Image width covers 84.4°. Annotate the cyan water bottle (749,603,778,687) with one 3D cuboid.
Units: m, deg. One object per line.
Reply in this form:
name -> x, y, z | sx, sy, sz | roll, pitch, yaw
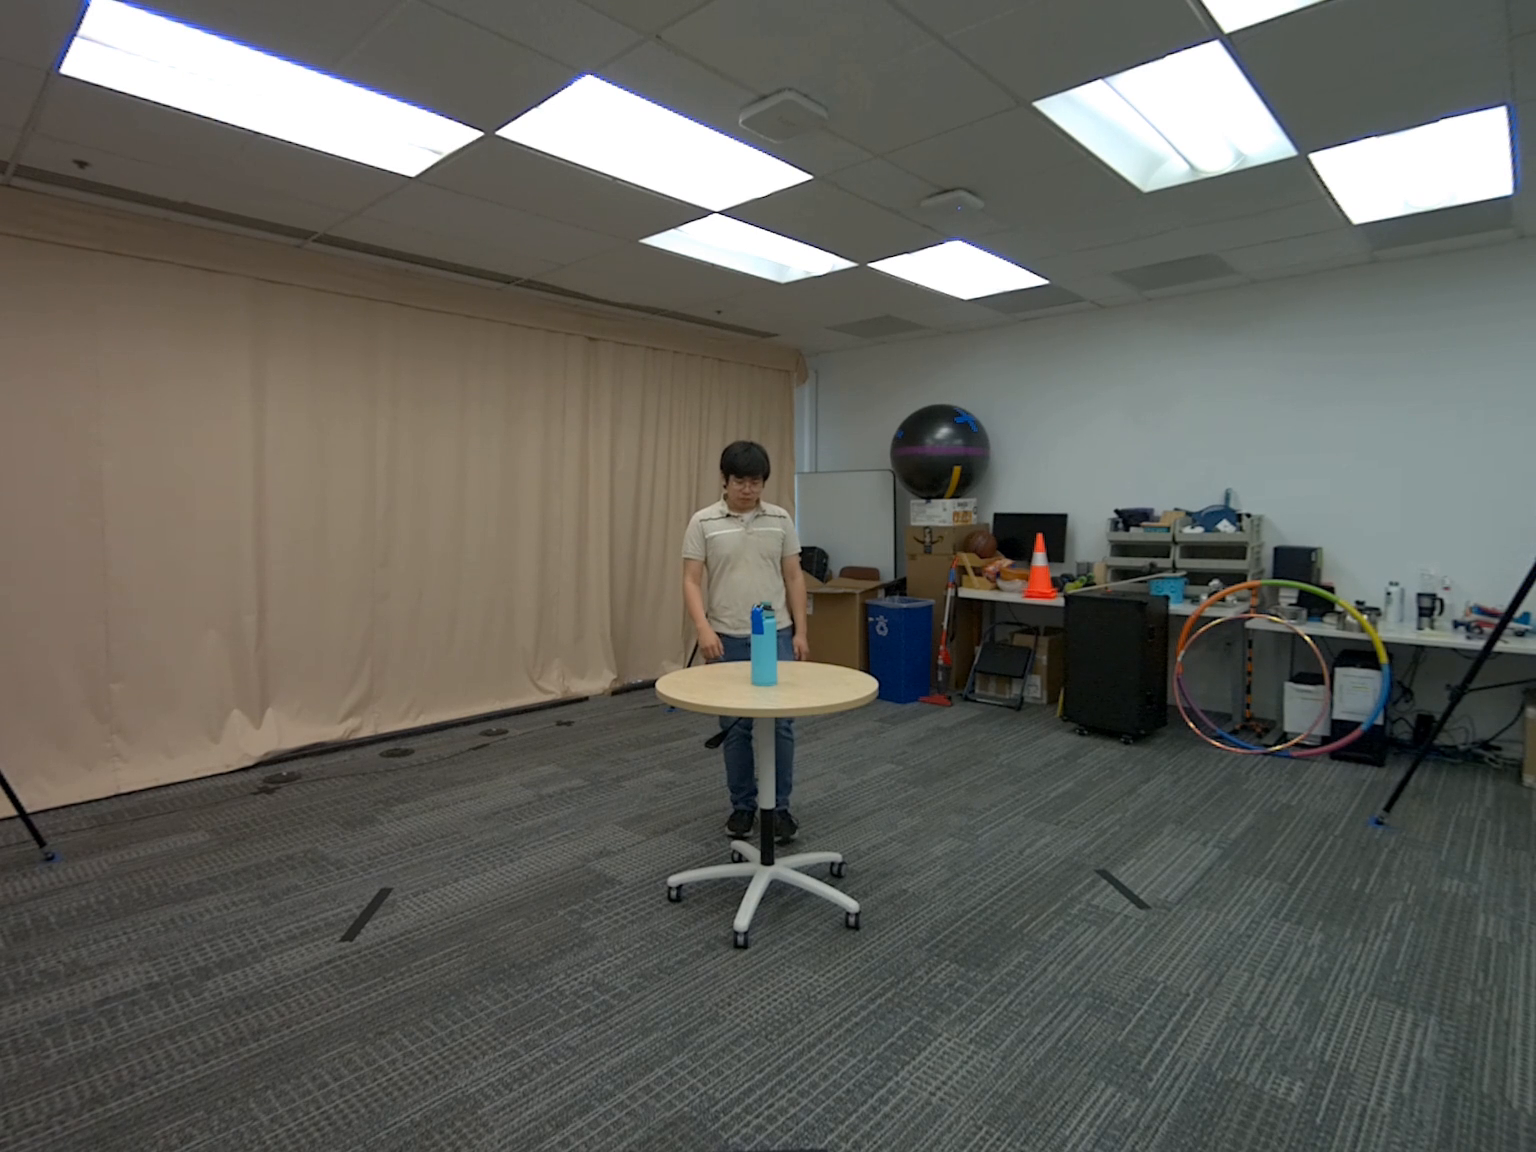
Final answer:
cyan water bottle -> -0.015, 0.229, 2.884 | 0.092, 0.283, 0.092 | -1, 2, -2
